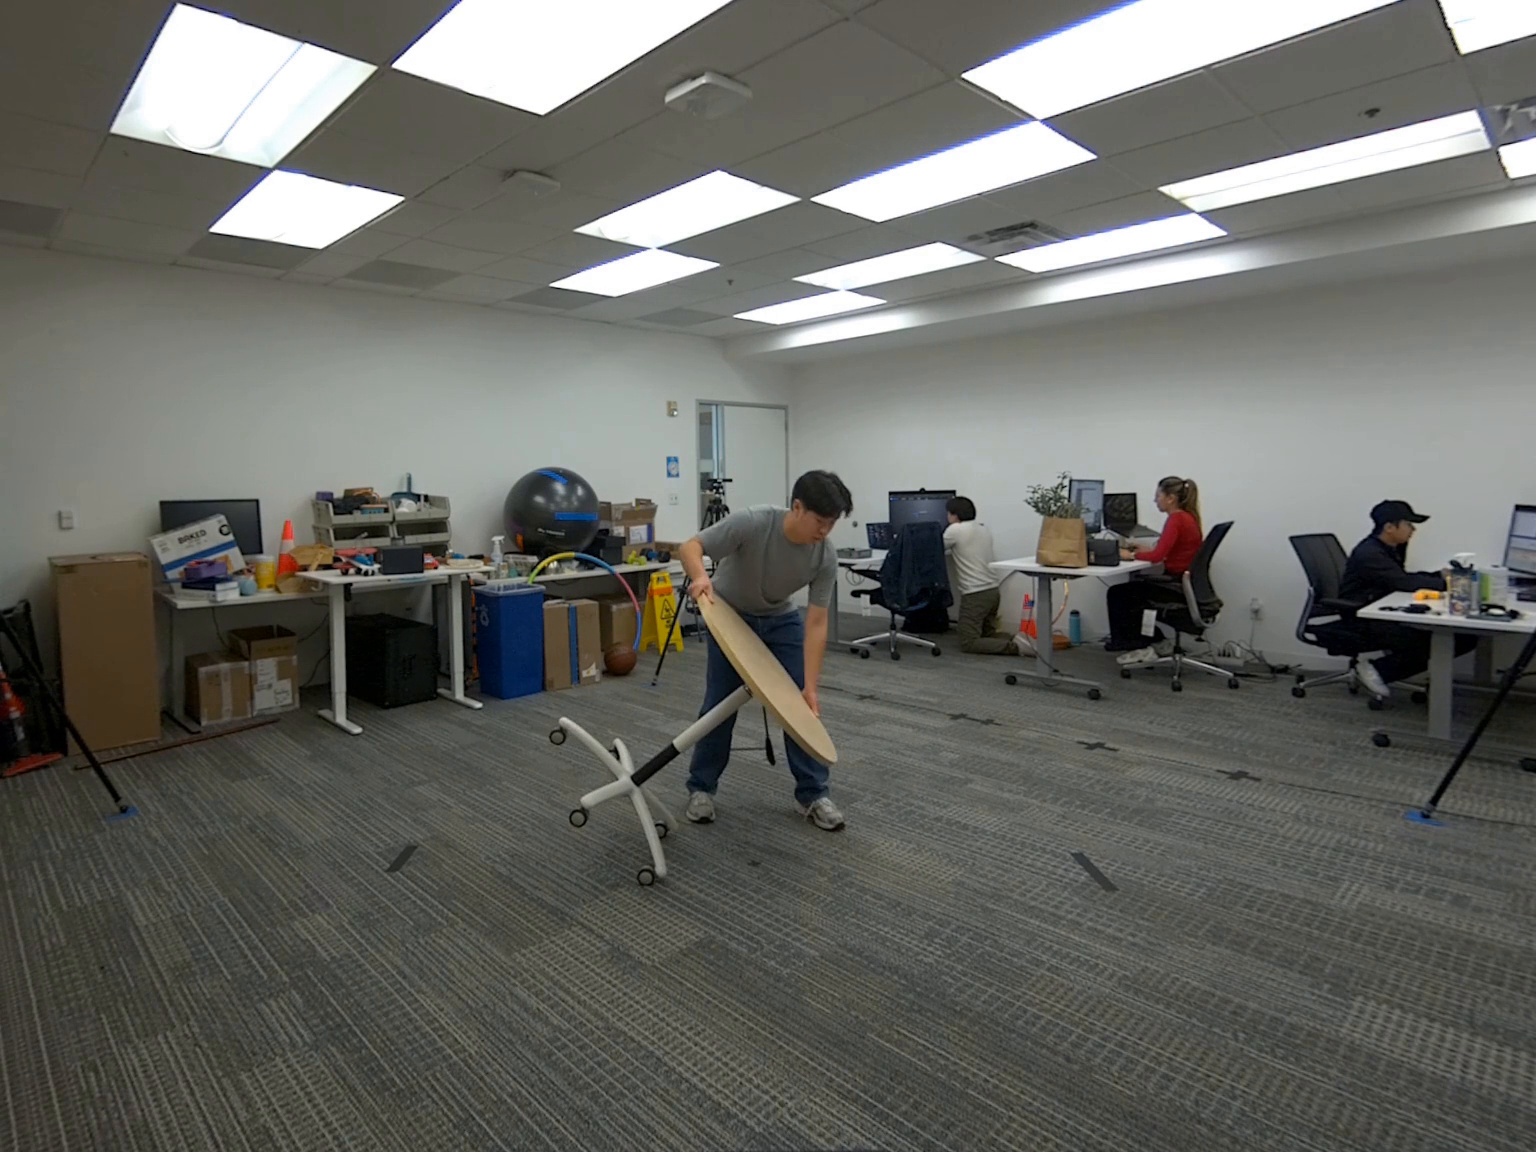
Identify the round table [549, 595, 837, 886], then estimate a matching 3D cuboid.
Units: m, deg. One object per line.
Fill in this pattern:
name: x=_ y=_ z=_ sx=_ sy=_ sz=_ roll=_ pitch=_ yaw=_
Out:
round table: x=-0.301 y=0.602 z=3.118 sx=0.794 sy=0.762 sz=0.765 roll=-40 pitch=3 yaw=4
